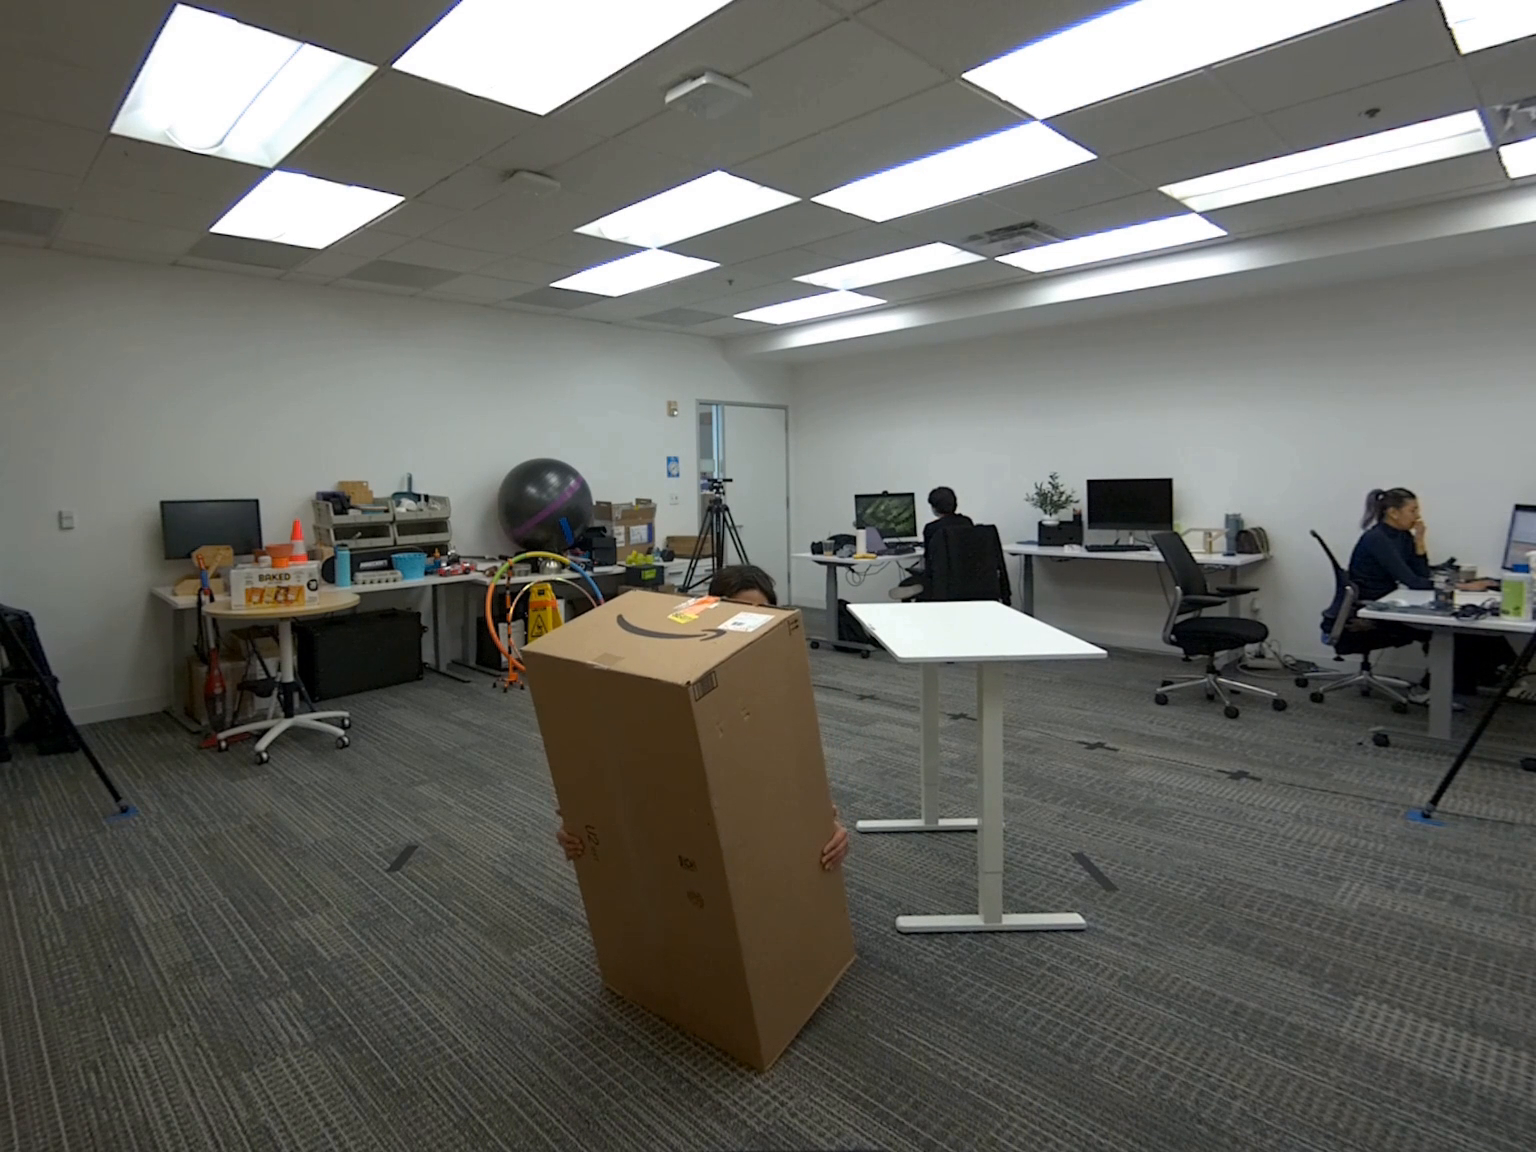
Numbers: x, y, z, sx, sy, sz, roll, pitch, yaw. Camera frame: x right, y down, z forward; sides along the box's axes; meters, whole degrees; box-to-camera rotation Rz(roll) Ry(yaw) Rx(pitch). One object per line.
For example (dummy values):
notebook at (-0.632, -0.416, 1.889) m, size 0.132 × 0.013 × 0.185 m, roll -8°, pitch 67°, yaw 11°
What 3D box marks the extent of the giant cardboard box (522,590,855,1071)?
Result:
giant cardboard box at (-0.189, 0.605, 2.214) m, size 0.595 × 1.009 × 0.420 m, roll 3°, pitch 20°, yaw 39°
